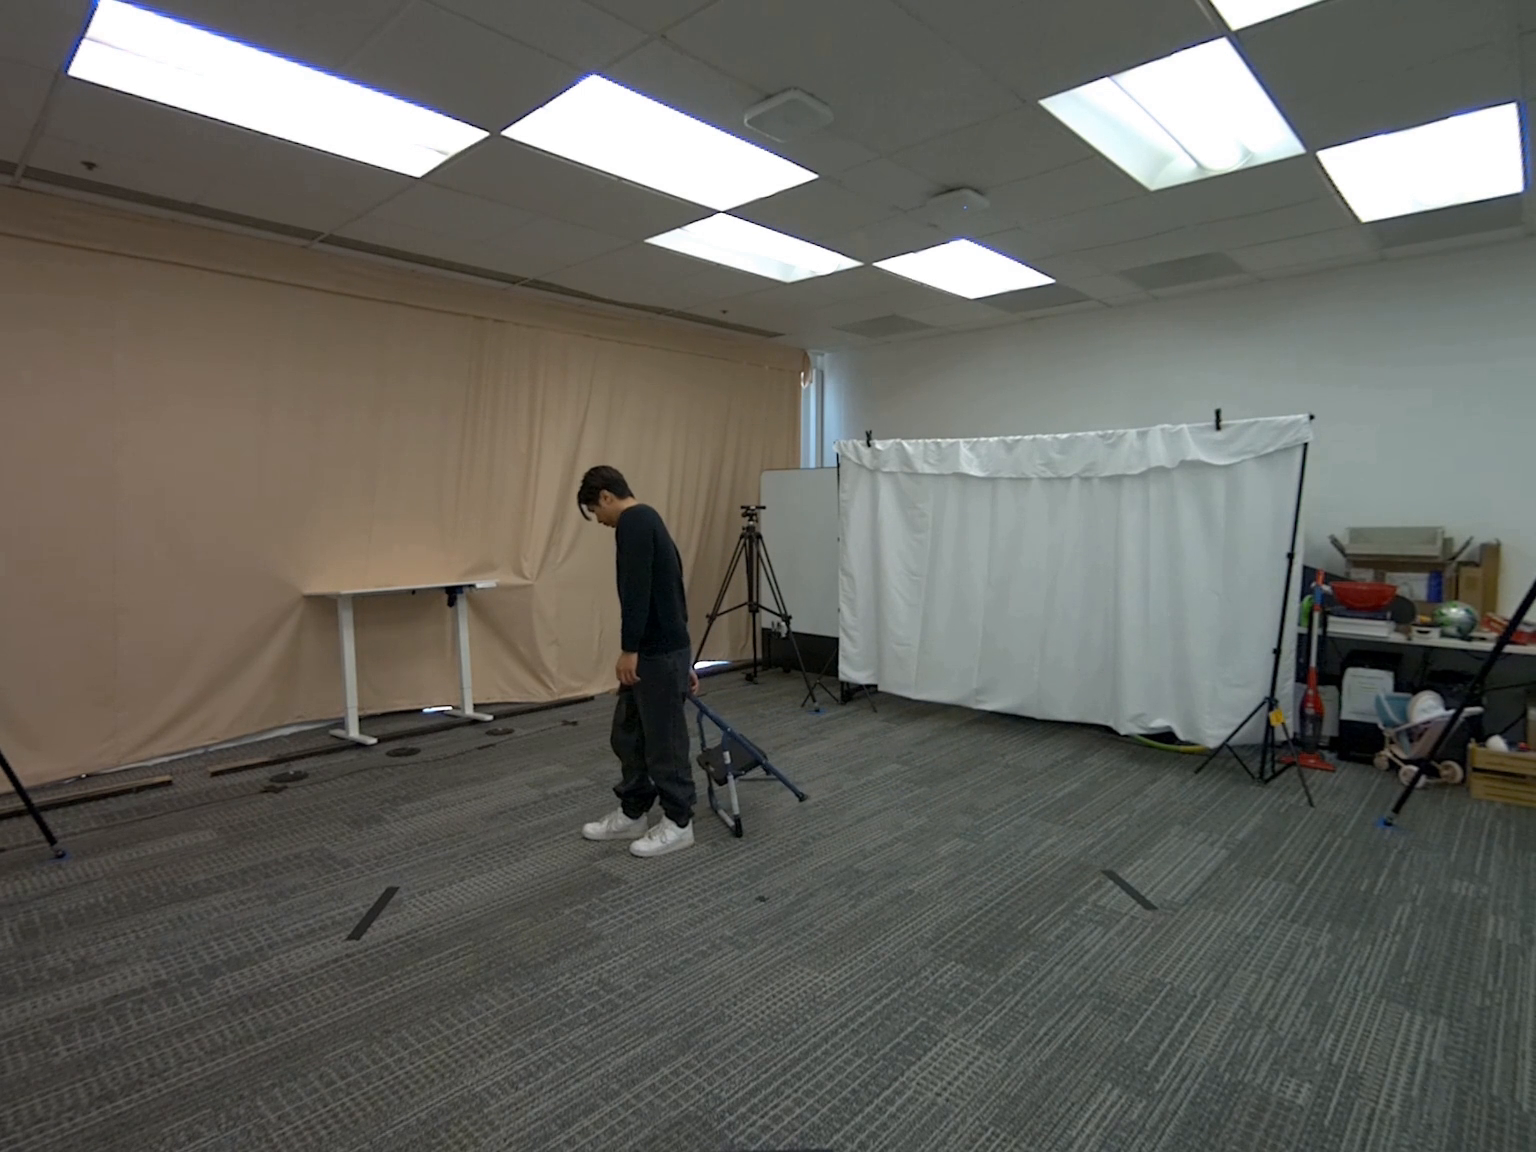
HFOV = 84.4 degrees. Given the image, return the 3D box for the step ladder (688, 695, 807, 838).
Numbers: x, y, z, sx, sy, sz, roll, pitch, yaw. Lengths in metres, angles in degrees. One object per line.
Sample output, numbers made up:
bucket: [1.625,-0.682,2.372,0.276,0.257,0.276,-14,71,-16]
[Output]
step ladder: [-0.167,0.747,3.724,0.345,0.600,0.439,-27,10,-17]
